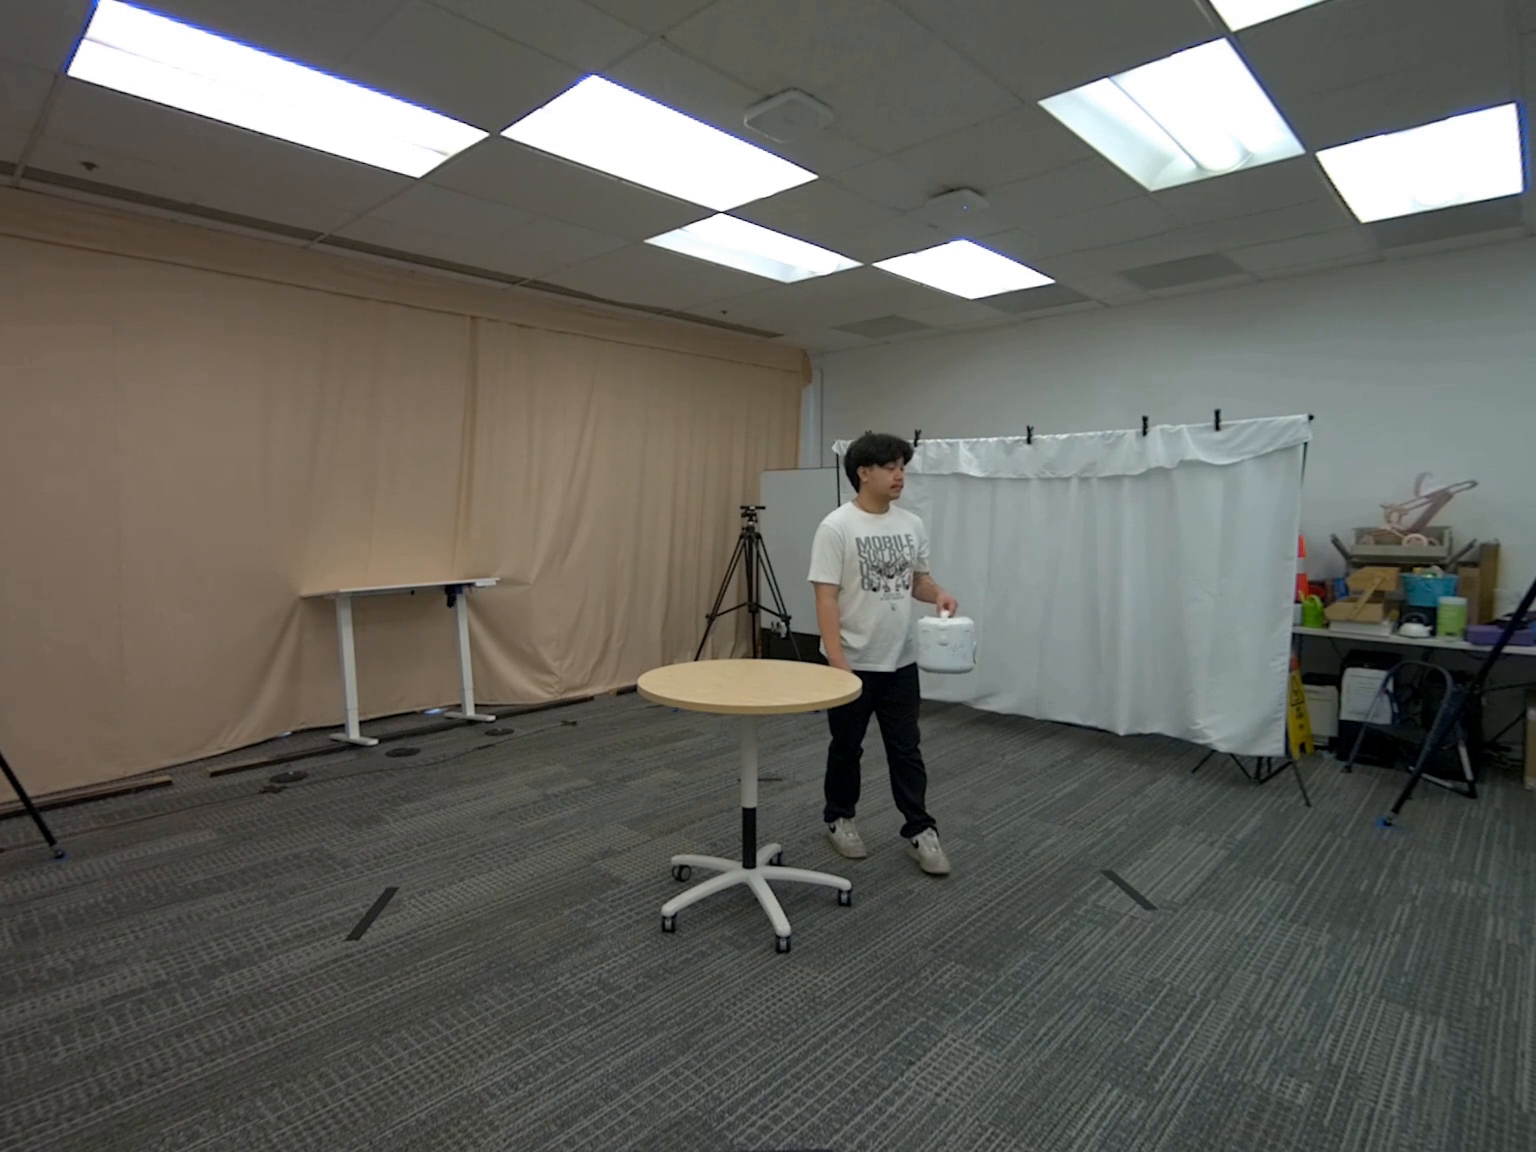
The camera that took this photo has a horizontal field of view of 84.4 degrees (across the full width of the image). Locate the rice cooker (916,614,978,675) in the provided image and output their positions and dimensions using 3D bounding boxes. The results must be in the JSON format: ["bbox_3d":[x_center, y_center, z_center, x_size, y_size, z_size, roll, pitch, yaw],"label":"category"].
[{"bbox_3d":[0.679,0.242,3.167,0.222,0.233,0.216,-1,0,19],"label":"rice cooker"}]
